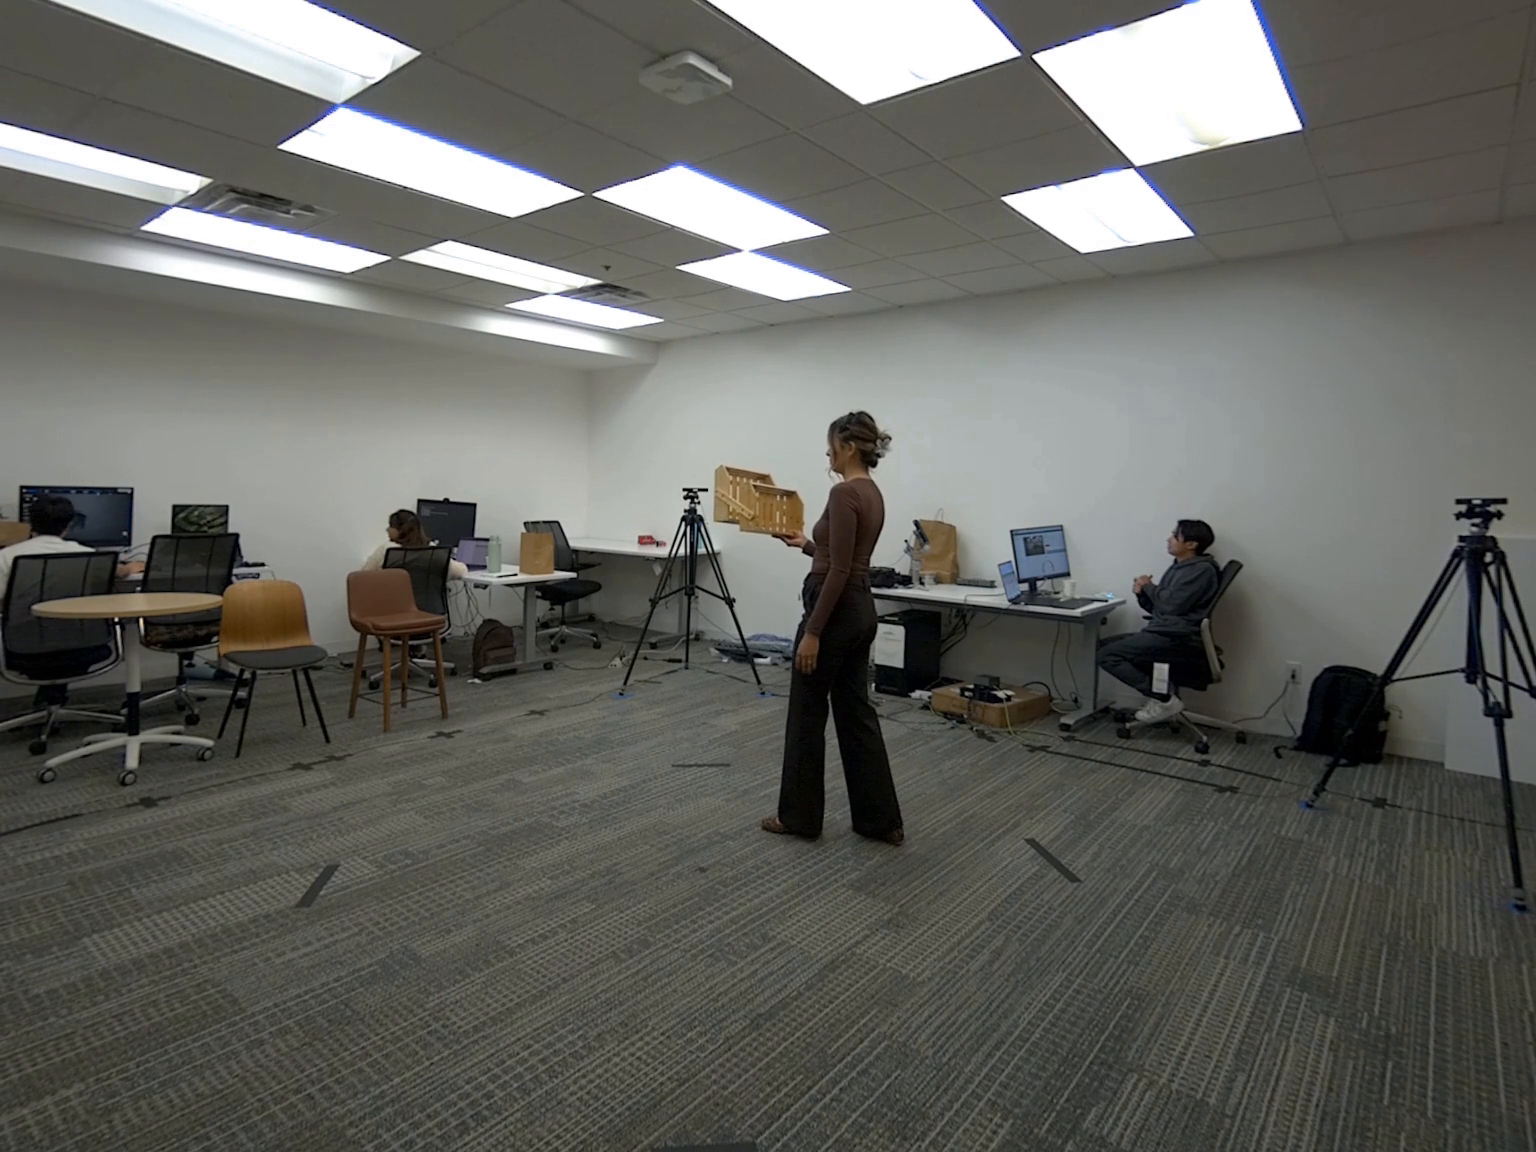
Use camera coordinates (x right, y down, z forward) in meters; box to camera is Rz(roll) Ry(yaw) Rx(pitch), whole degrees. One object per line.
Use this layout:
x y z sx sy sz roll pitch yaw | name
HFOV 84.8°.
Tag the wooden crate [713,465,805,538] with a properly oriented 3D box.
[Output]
-0.045 -0.338 3.748 0.313 0.303 0.282 6 -5 -43 | wooden crate
